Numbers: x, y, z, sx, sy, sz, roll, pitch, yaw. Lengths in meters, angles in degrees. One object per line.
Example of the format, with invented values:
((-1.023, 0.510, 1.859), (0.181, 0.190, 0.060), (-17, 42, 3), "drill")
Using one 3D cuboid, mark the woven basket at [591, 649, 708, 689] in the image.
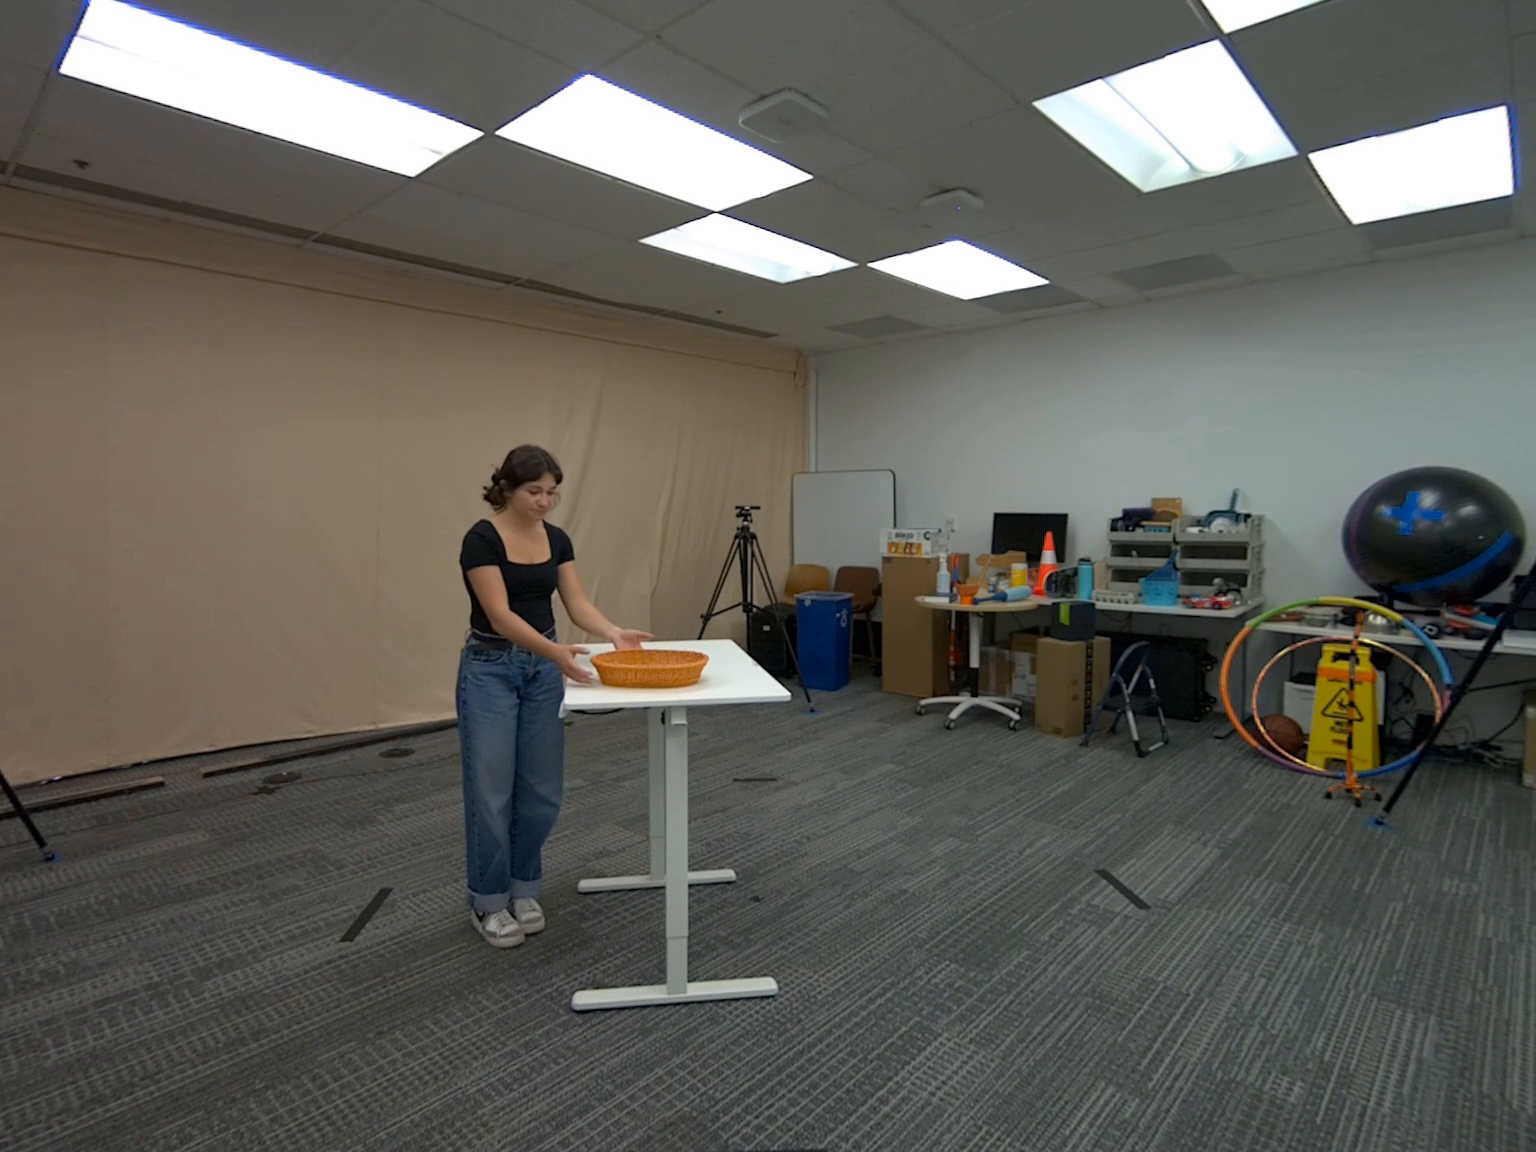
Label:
((-0.350, 0.282, 2.436), (0.354, 0.073, 0.251), (1, 7, 8), "woven basket")
